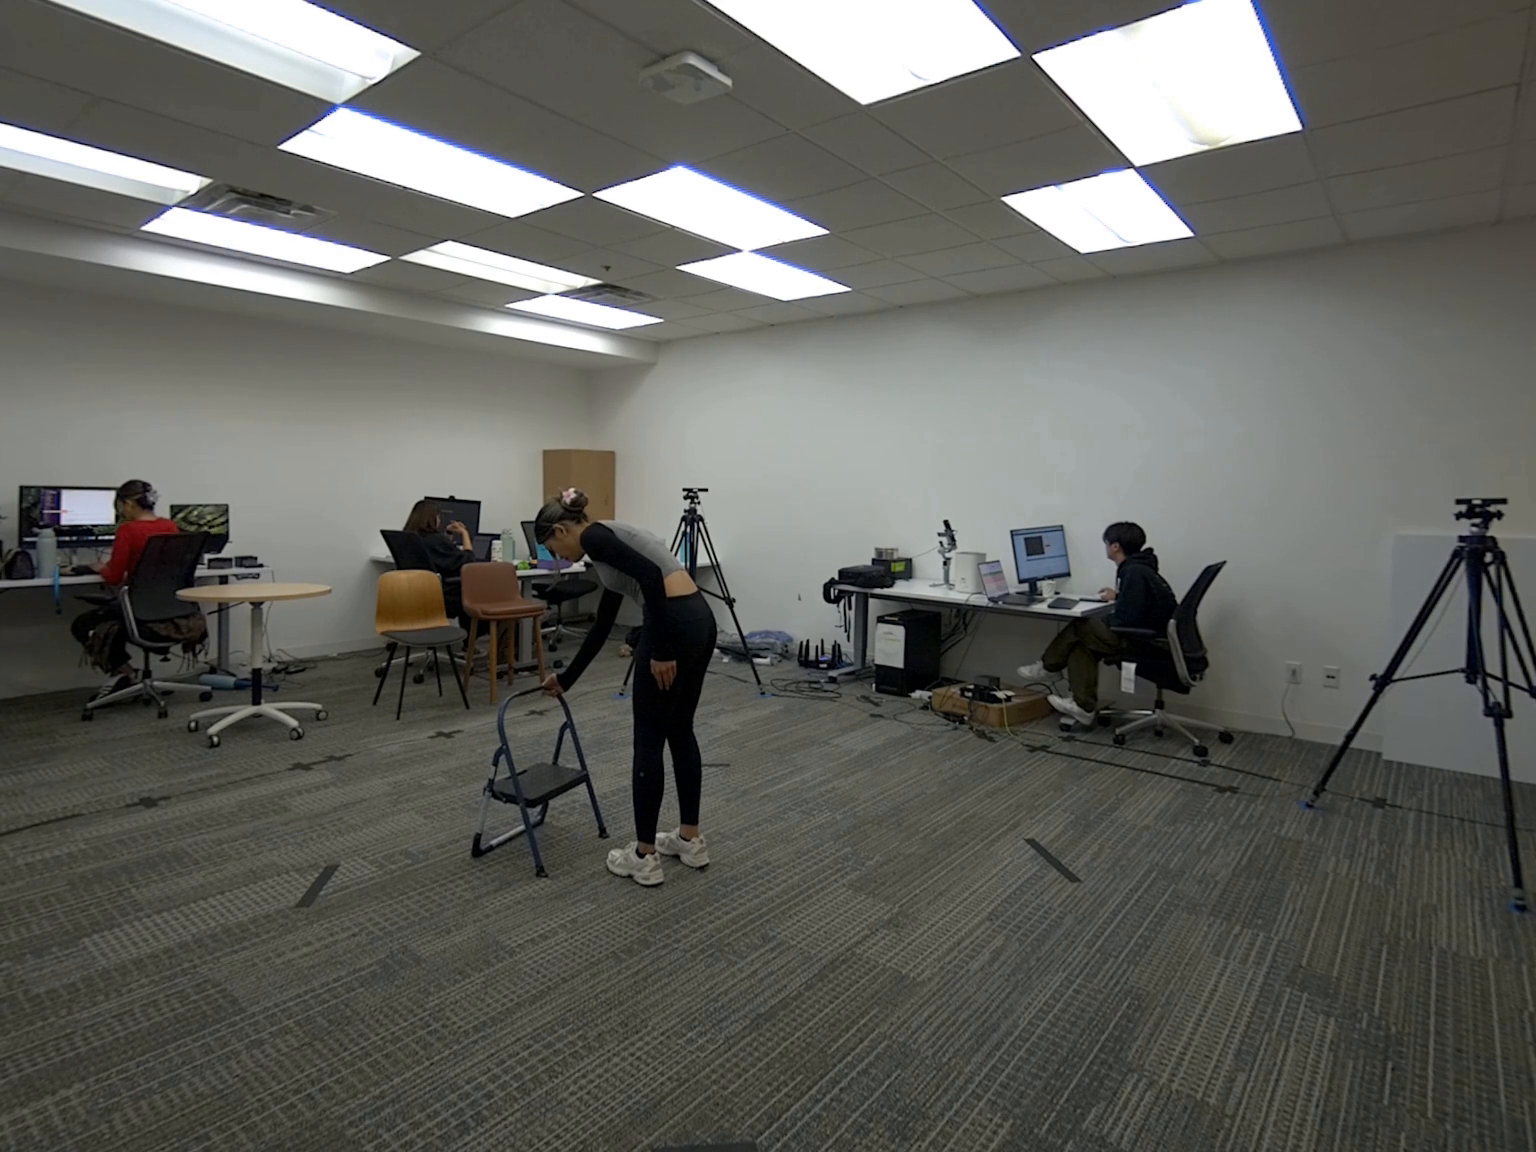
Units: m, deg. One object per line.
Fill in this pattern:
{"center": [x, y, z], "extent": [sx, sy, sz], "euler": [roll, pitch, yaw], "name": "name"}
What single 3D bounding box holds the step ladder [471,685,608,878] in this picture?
{"center": [-0.878, 0.740, 3.269], "extent": [0.358, 0.604, 0.421], "euler": [2, 3, 24], "name": "step ladder"}
